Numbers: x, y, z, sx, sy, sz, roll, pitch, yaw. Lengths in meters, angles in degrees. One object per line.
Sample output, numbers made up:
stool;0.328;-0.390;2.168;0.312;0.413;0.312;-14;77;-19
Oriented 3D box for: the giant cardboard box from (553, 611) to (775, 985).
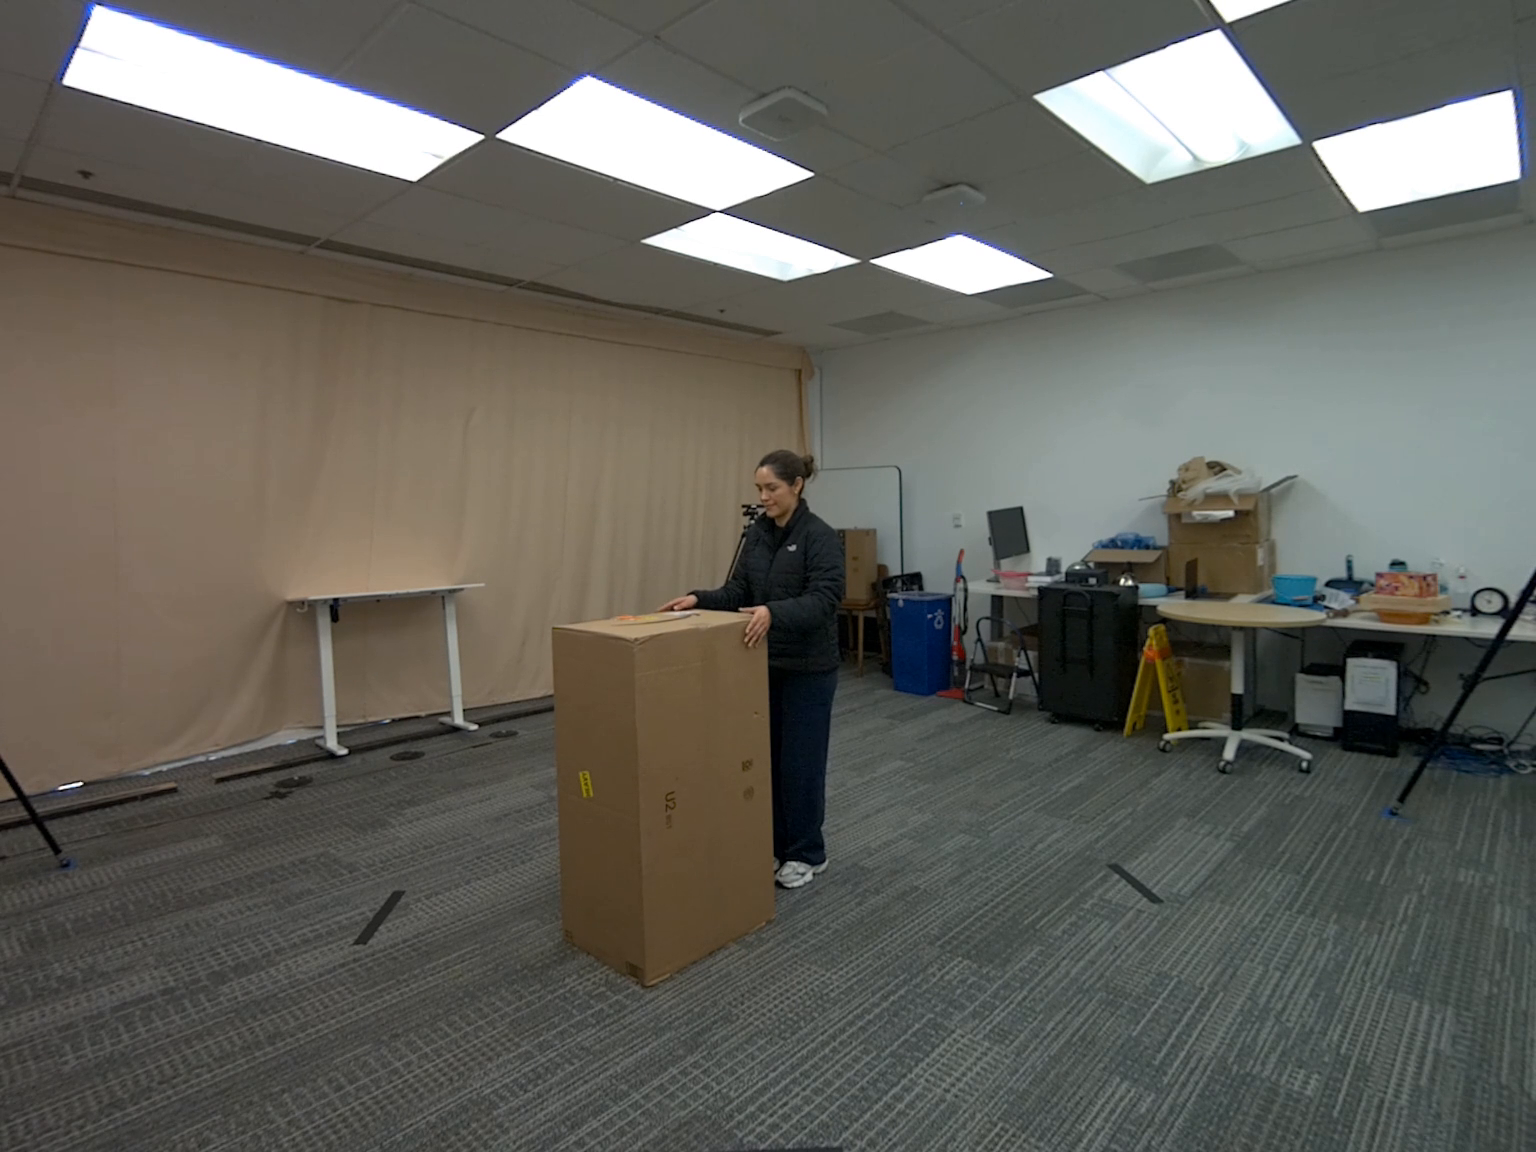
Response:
giant cardboard box;-0.323;0.657;2.759;0.461;1.025;0.566;1;3;44
